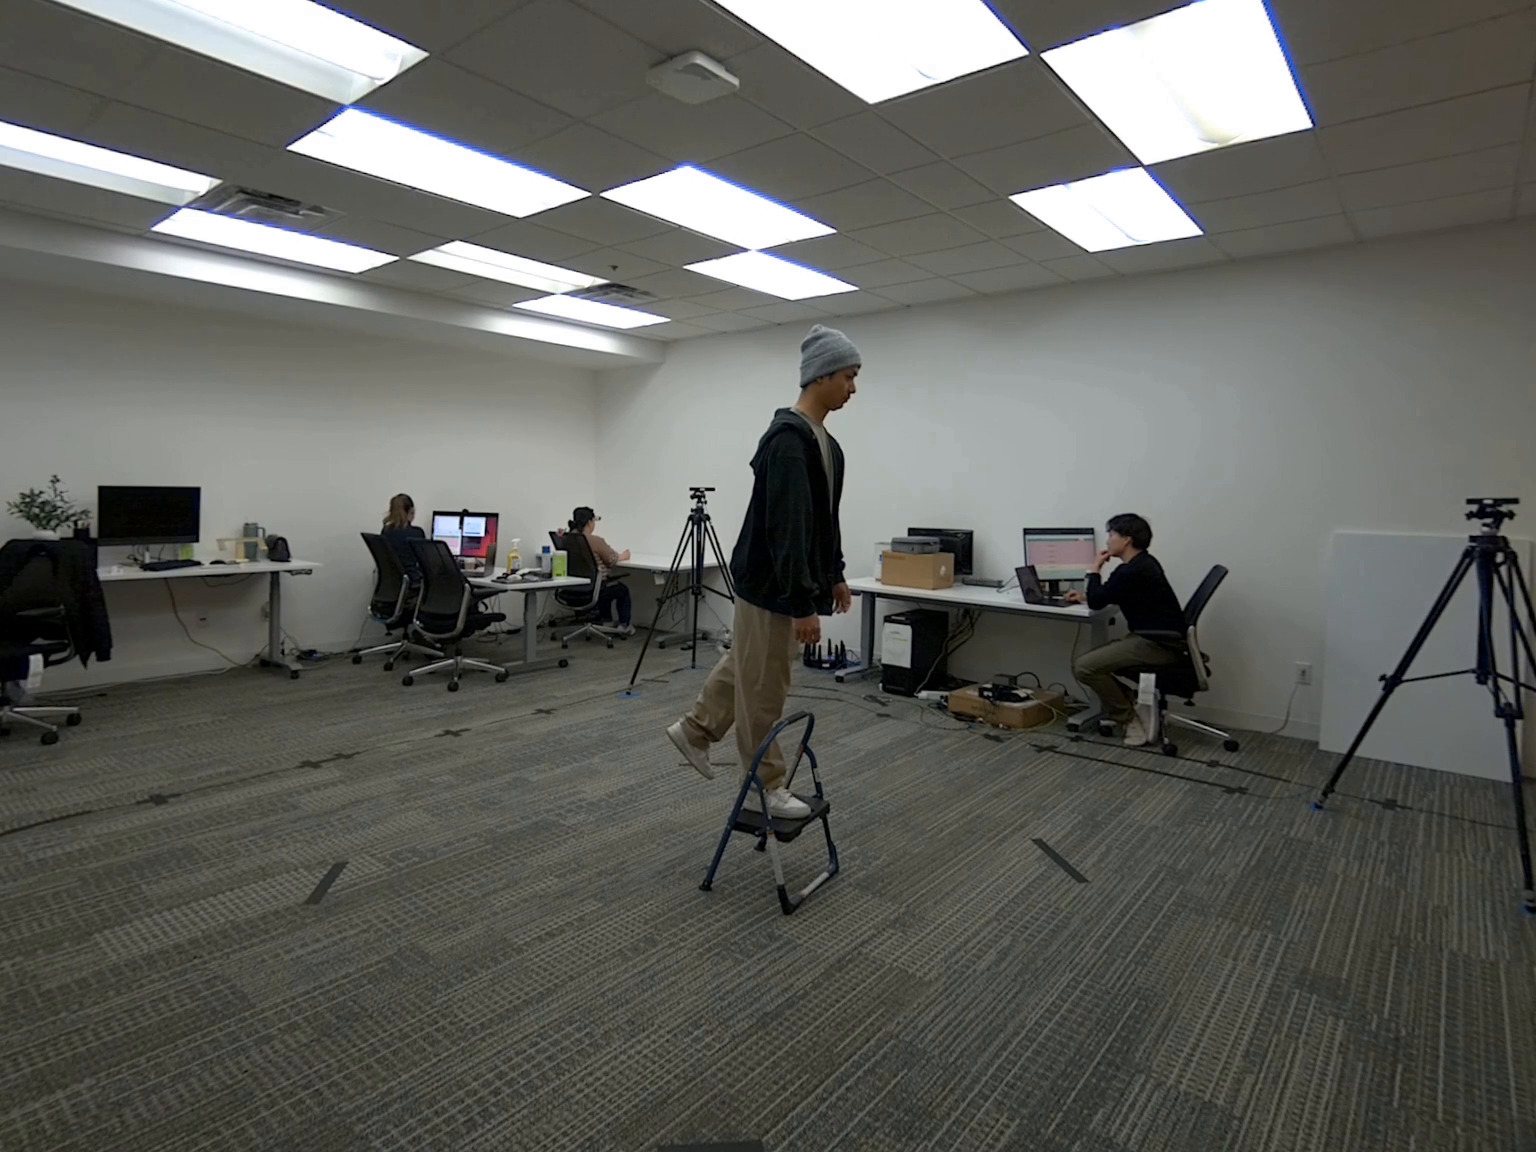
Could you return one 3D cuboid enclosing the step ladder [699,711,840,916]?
[{"bbox_3d":[0.016,0.778,3.019,0.359,0.604,0.420,4,4,29],"label":"step ladder"}]
